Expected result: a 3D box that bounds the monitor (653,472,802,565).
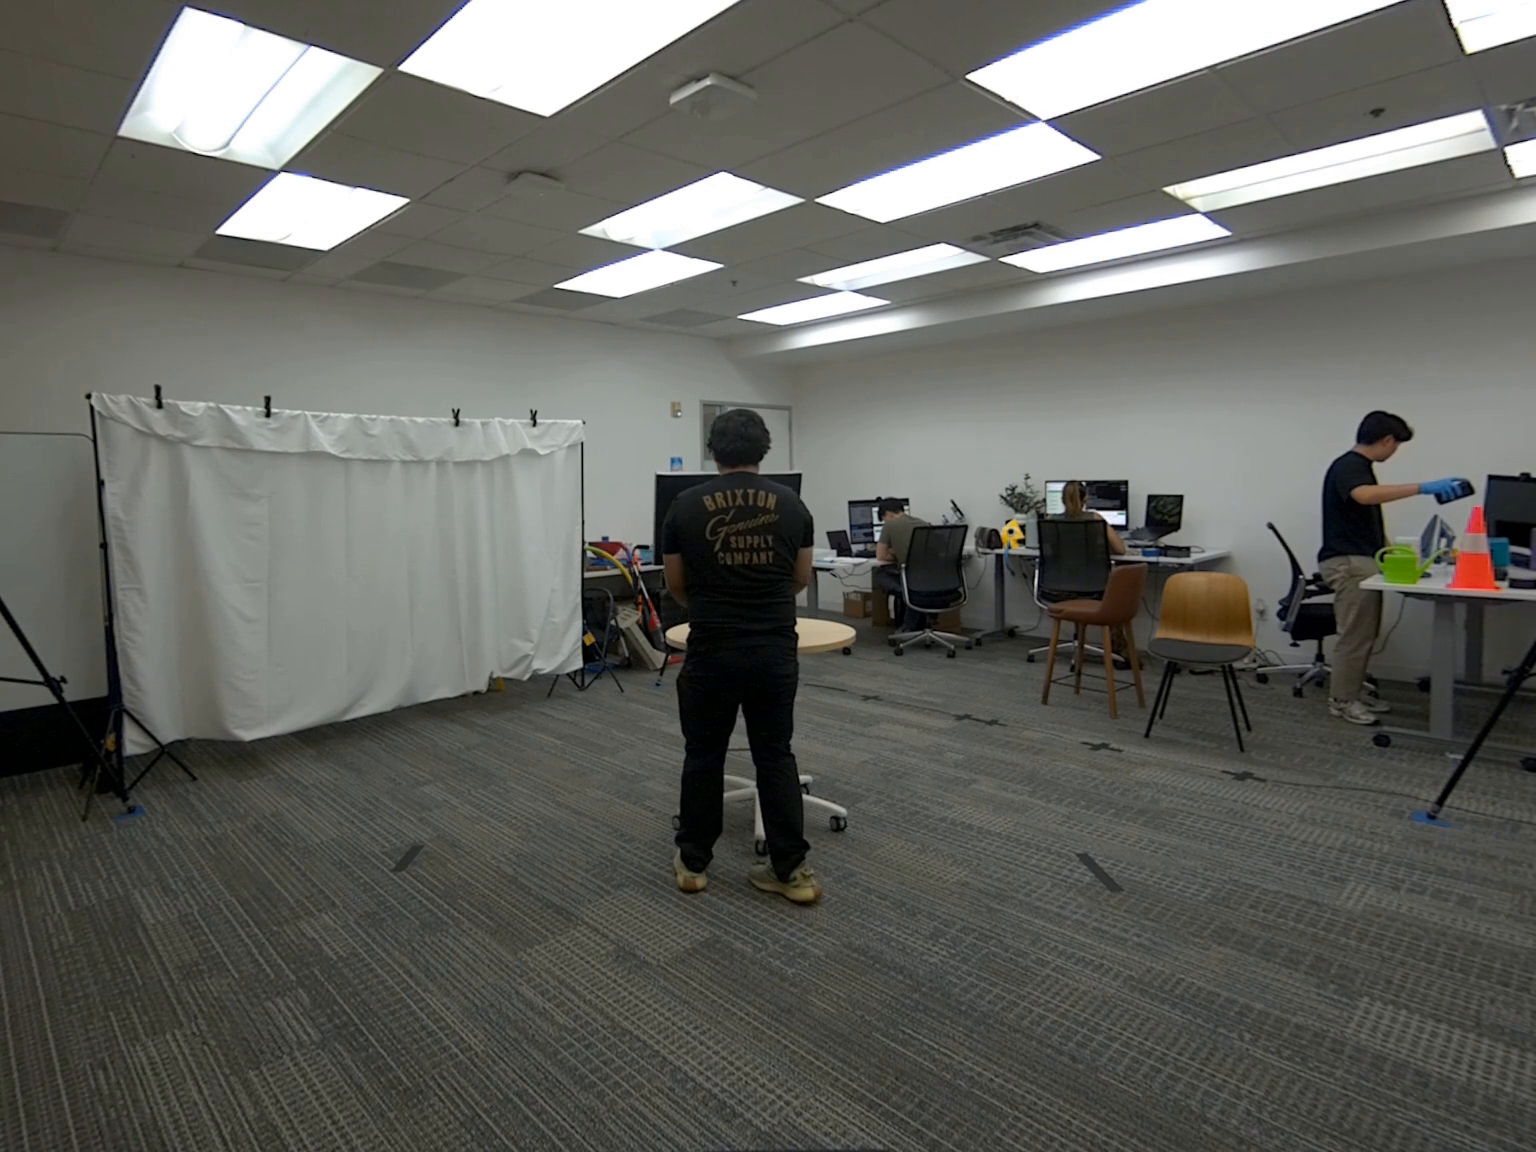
[{"bbox_3d":[-0.135,-0.111,3.181,0.558,0.547,0.215,-1,15,-14],"label":"monitor"}]
